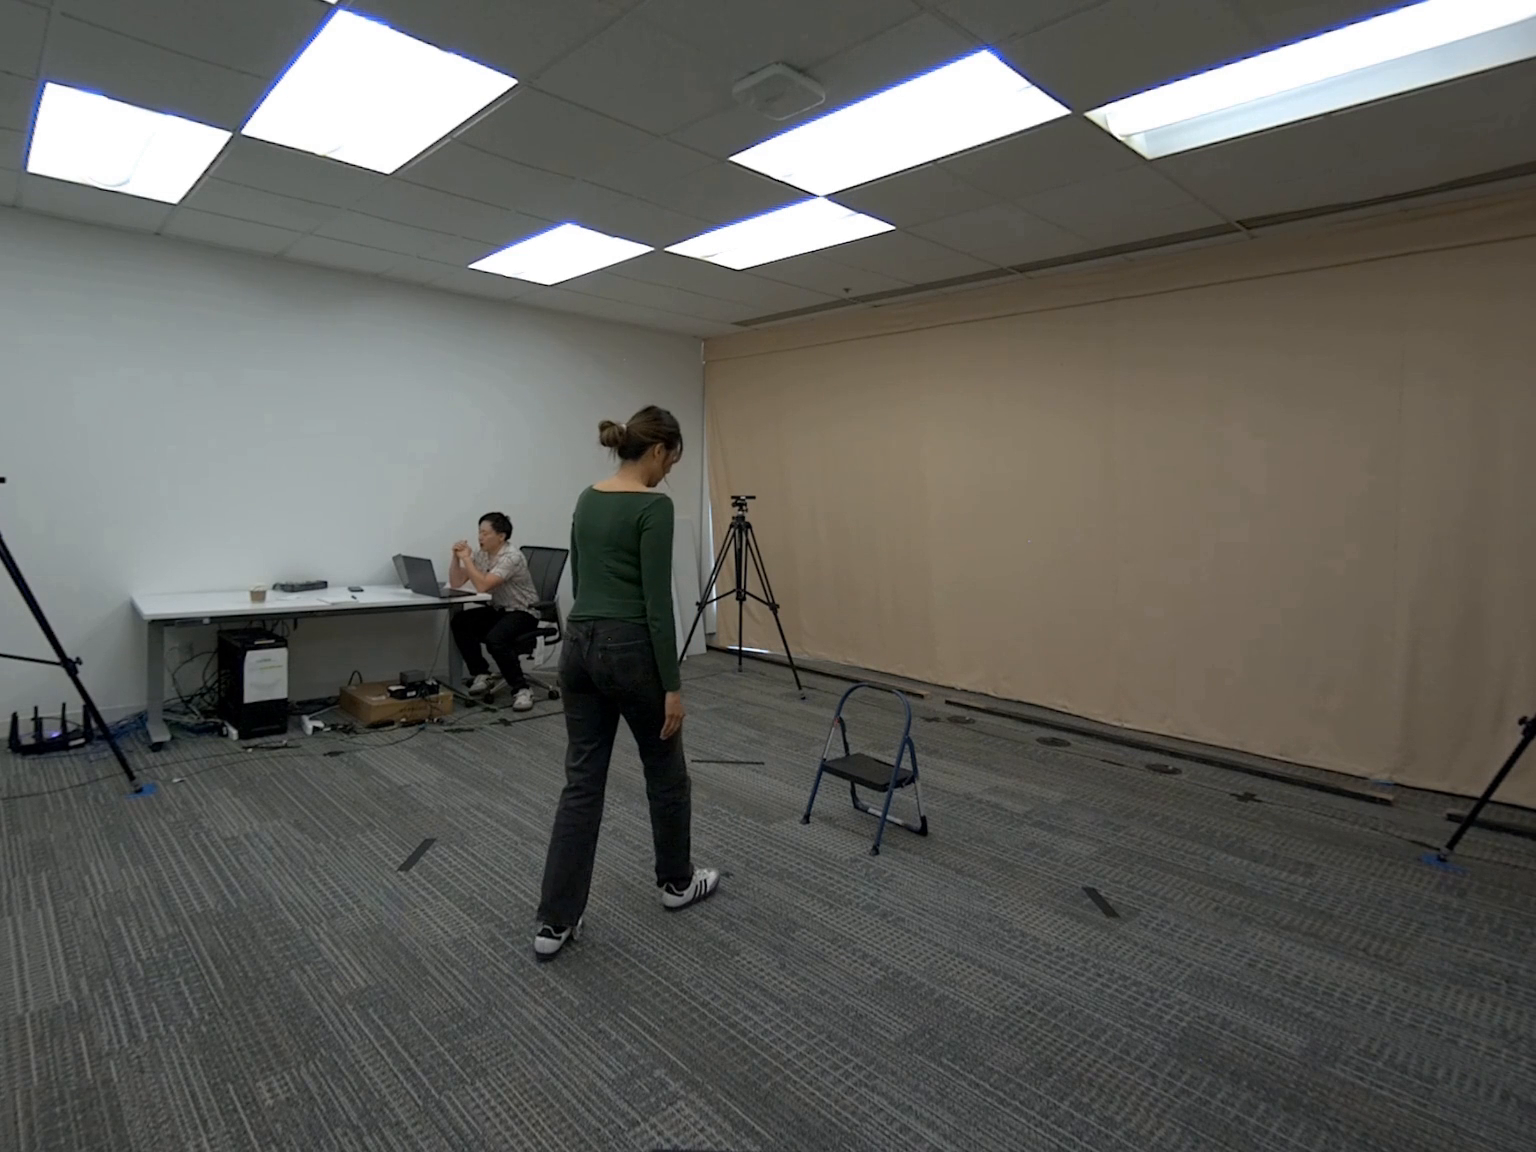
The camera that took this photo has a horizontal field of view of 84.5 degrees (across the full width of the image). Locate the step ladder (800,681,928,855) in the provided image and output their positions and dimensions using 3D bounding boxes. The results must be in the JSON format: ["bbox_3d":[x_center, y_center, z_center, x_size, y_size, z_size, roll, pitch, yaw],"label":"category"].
[{"bbox_3d":[0.408,0.772,3.552,0.341,0.604,0.442,-1,5,-40],"label":"step ladder"}]
